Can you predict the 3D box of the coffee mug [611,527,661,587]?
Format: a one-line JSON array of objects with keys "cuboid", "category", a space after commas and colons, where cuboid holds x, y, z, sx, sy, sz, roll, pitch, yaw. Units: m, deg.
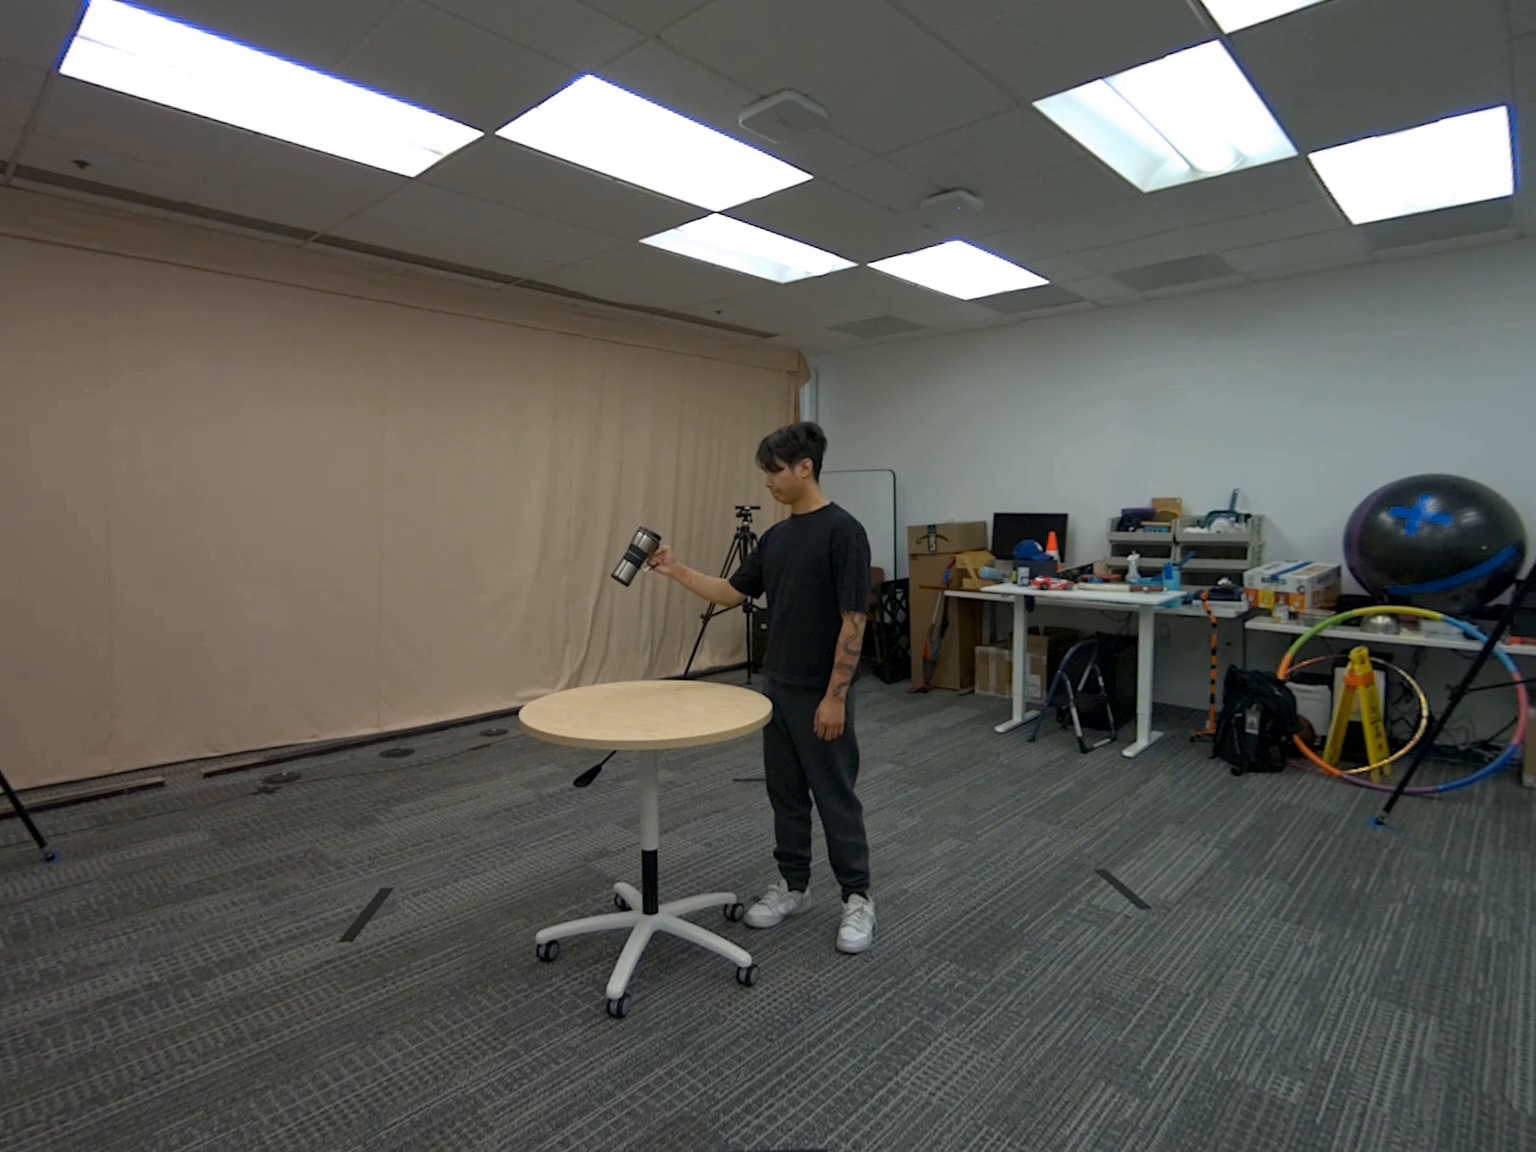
[{"cuboid": [-0.433, -0.055, 2.876, 0.122, 0.203, 0.088, 28, -9, 1], "category": "coffee mug"}]
